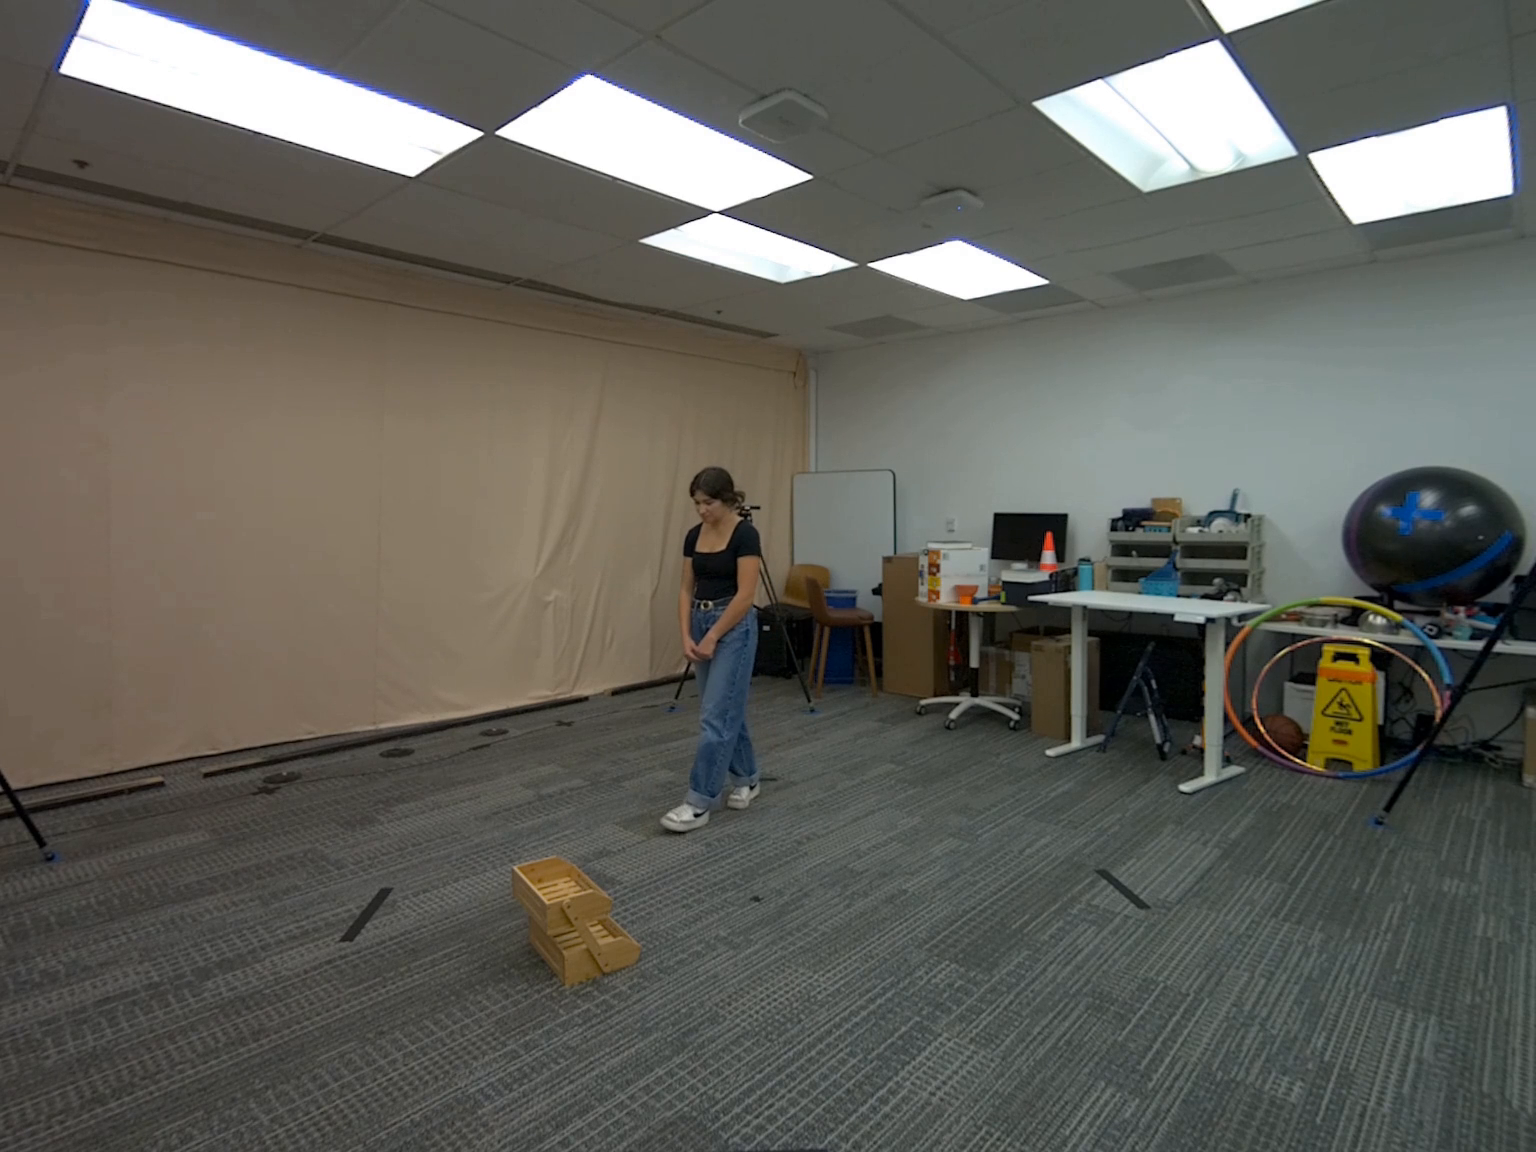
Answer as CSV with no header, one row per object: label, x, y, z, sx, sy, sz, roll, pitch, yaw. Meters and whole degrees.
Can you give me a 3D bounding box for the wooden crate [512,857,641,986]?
wooden crate,-0.600,1.046,2.611,0.293,0.273,0.334,-3,5,-34
